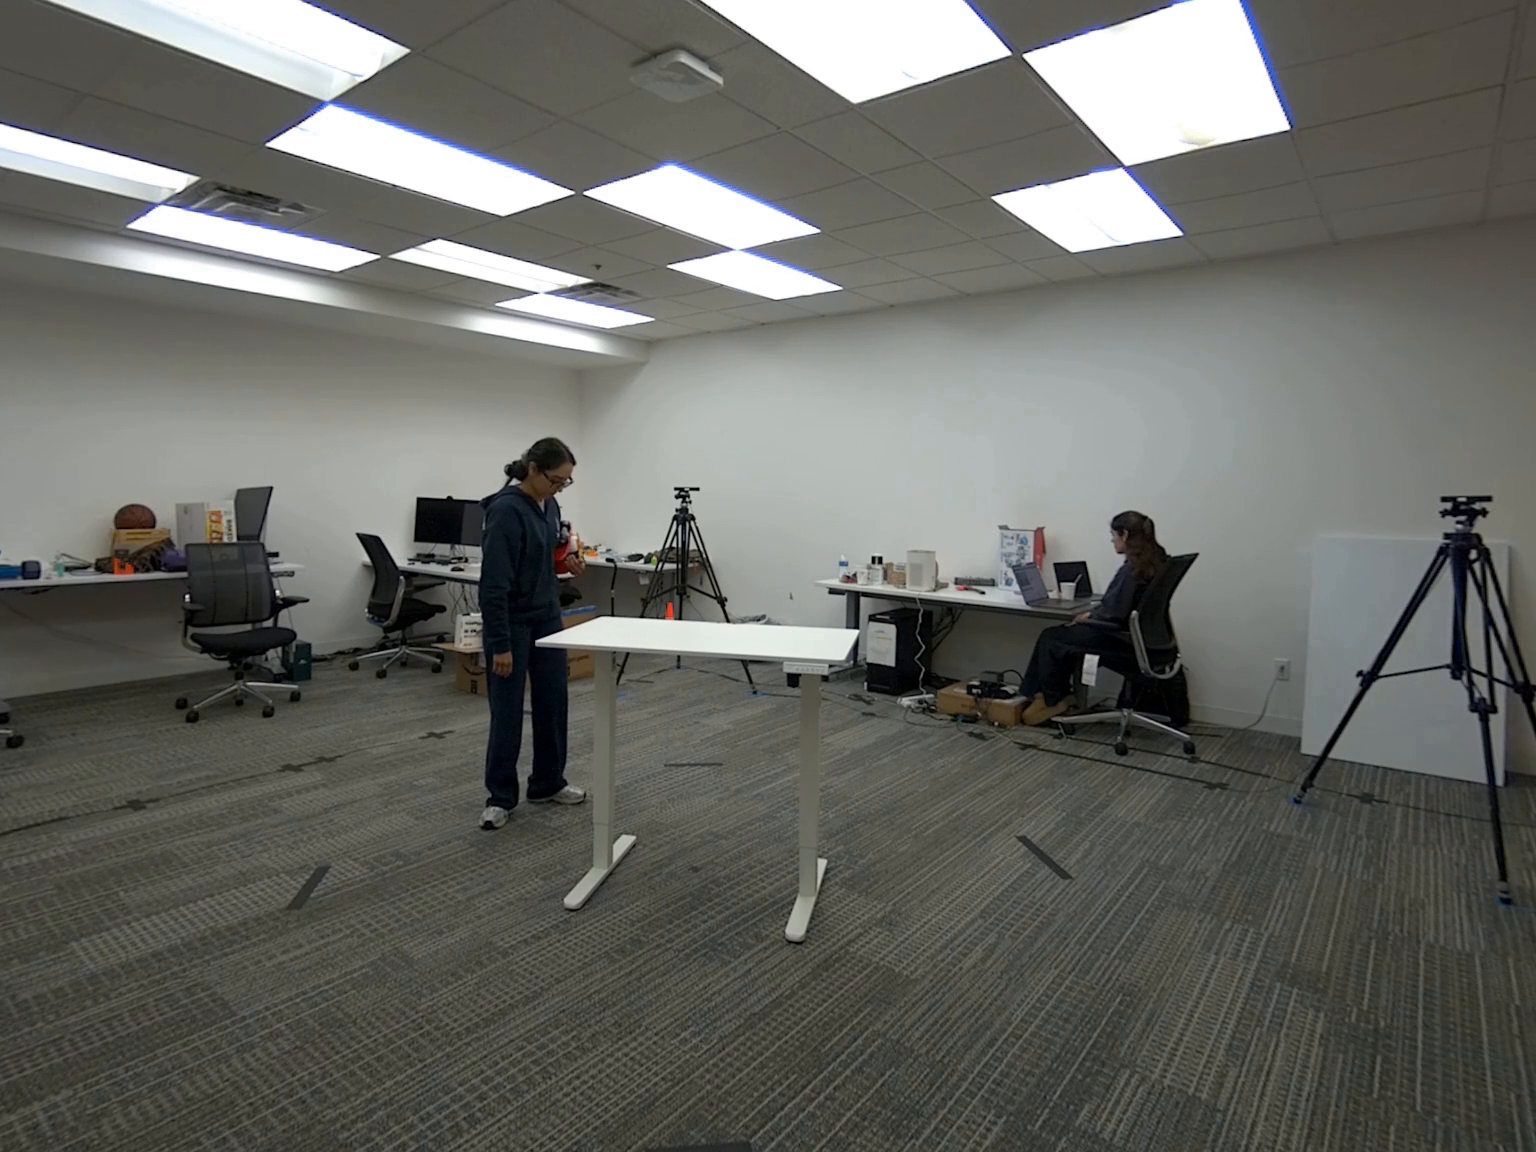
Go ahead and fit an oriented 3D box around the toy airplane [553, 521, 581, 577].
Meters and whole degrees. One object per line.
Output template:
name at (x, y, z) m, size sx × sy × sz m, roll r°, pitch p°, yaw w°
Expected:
toy airplane at (-0.972, -0.153, 3.773) m, size 0.267 × 0.253 × 0.150 m, roll 7°, pitch -39°, yaw 30°
